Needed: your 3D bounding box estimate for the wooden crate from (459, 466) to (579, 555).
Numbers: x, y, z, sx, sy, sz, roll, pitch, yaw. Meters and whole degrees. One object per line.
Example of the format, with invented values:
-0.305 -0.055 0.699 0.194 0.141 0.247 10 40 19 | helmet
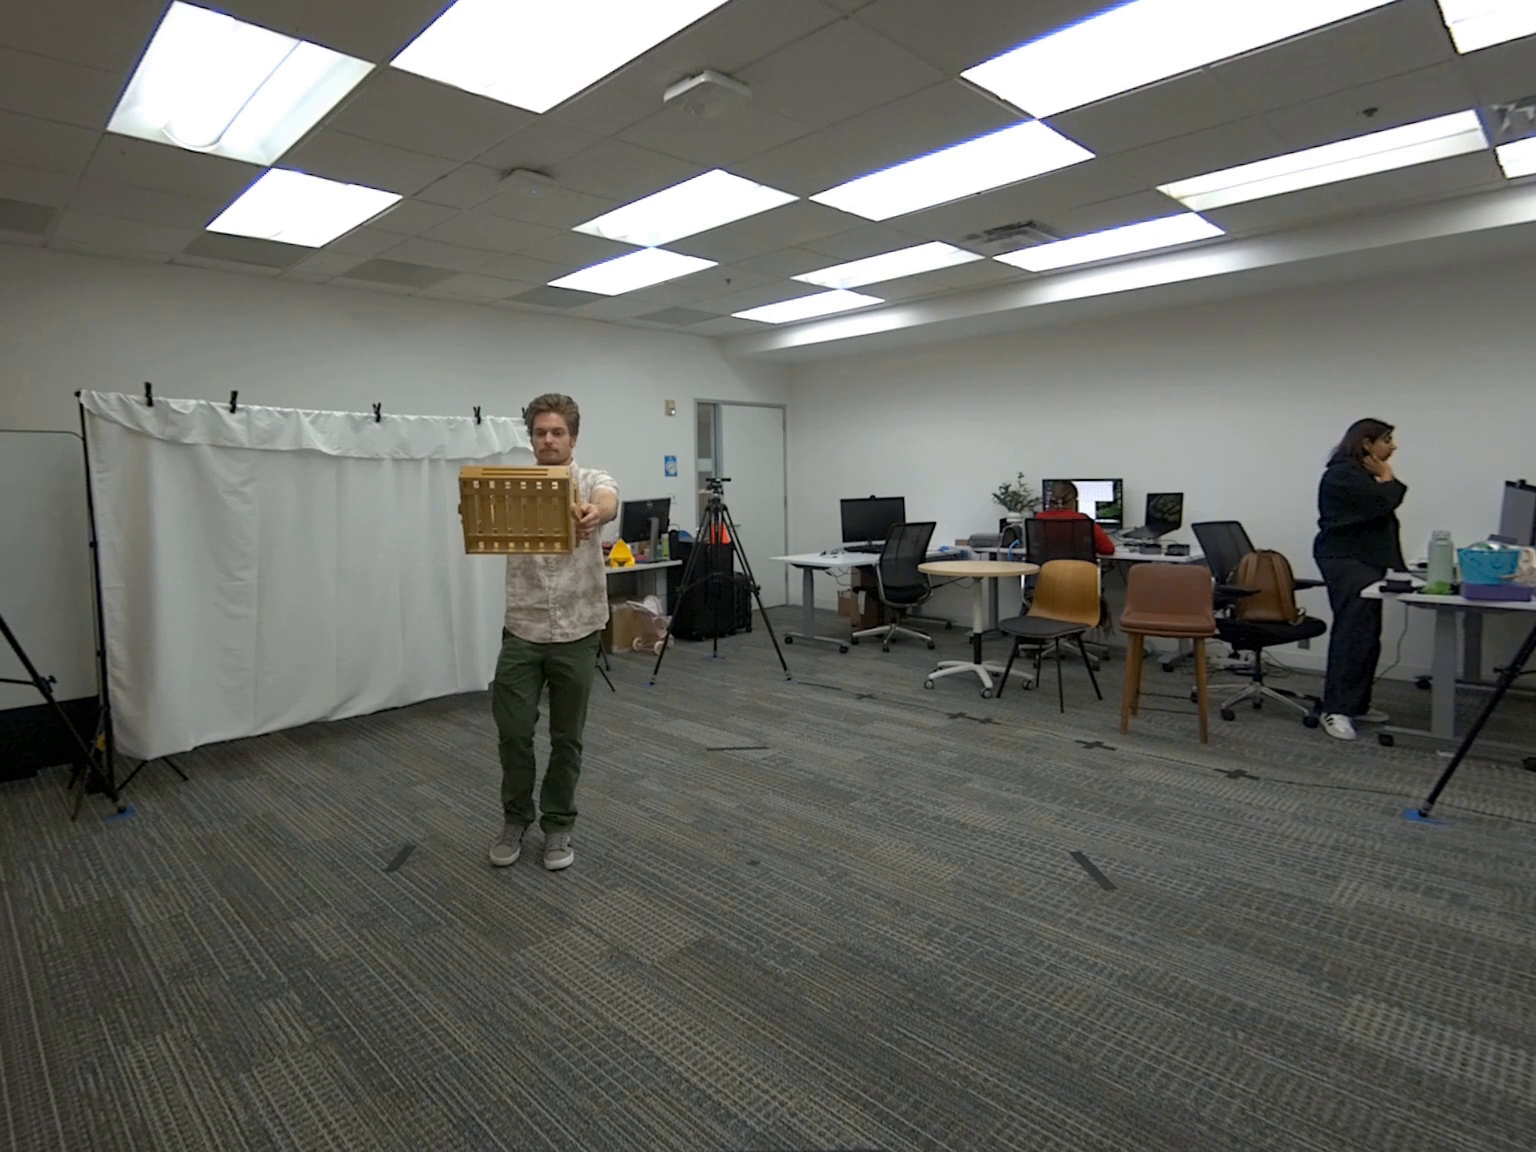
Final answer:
-0.734 -0.204 2.503 0.322 0.296 0.280 -1 23 -7 | wooden crate
